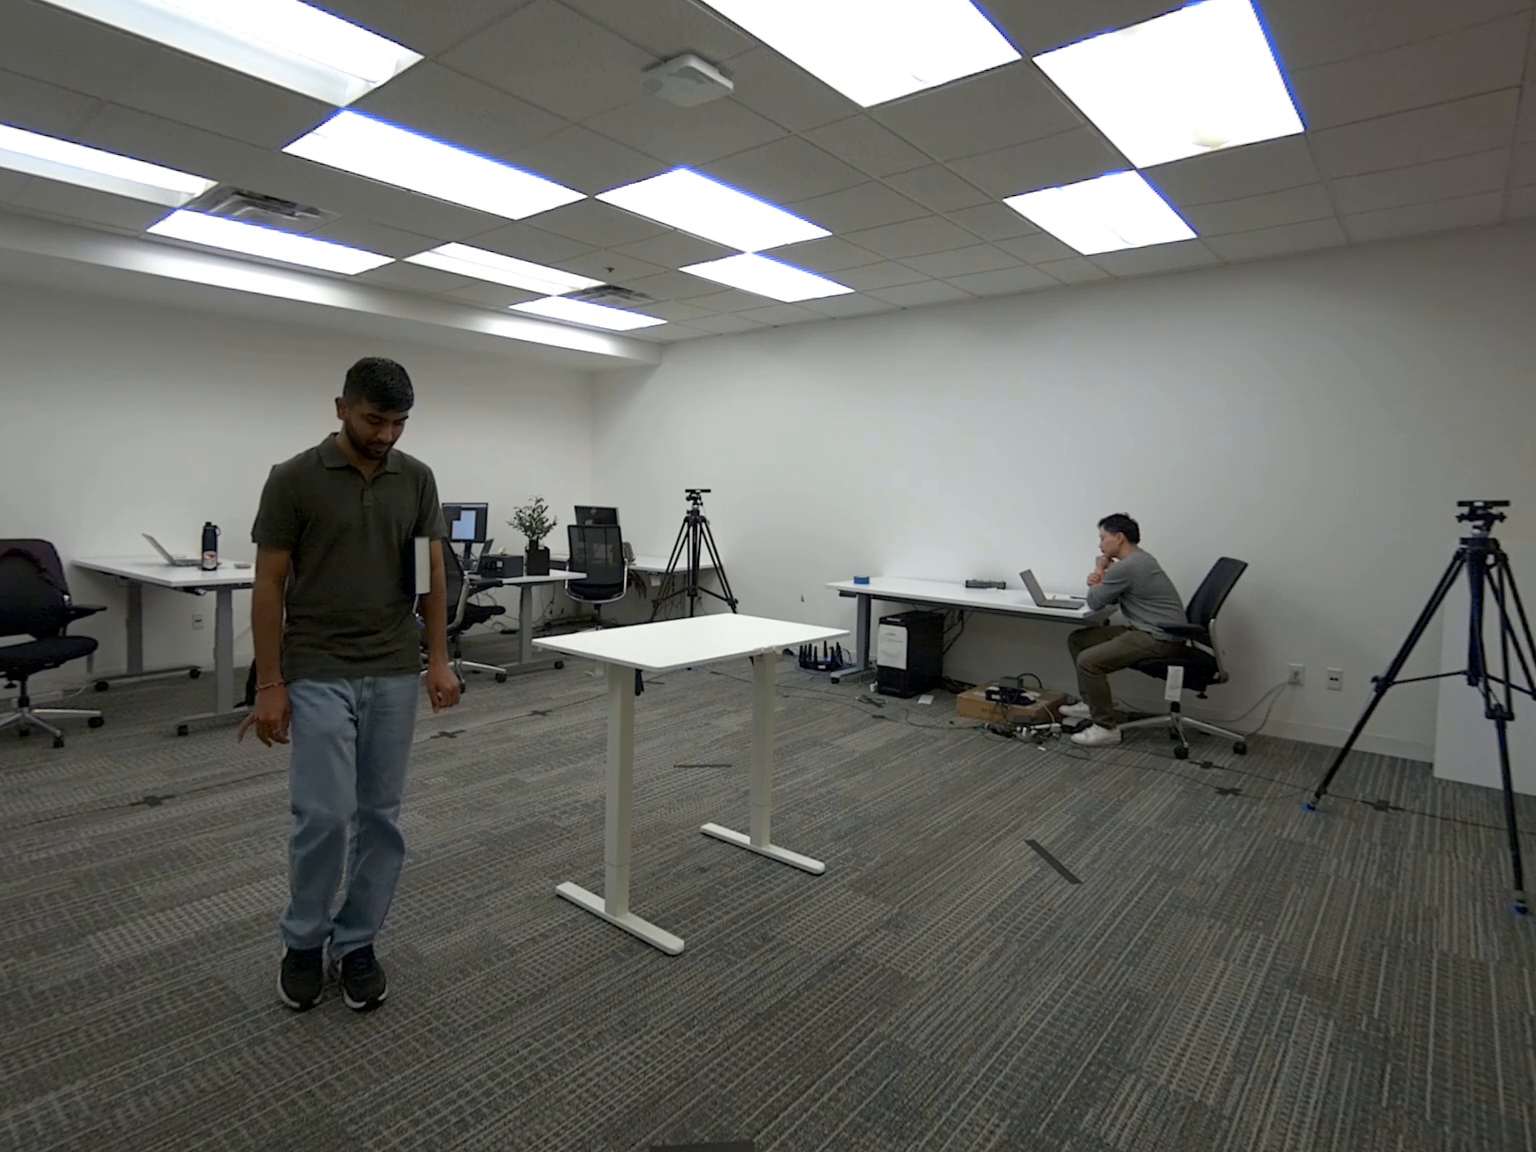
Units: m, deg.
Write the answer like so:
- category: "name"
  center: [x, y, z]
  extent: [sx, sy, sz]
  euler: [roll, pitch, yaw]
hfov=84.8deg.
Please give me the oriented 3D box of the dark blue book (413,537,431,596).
- category: "dark blue book"
  center: [-1.028, -0.022, 2.434]
  extent: [0.044, 0.164, 0.252]
  euler: [-1, -2, -35]
